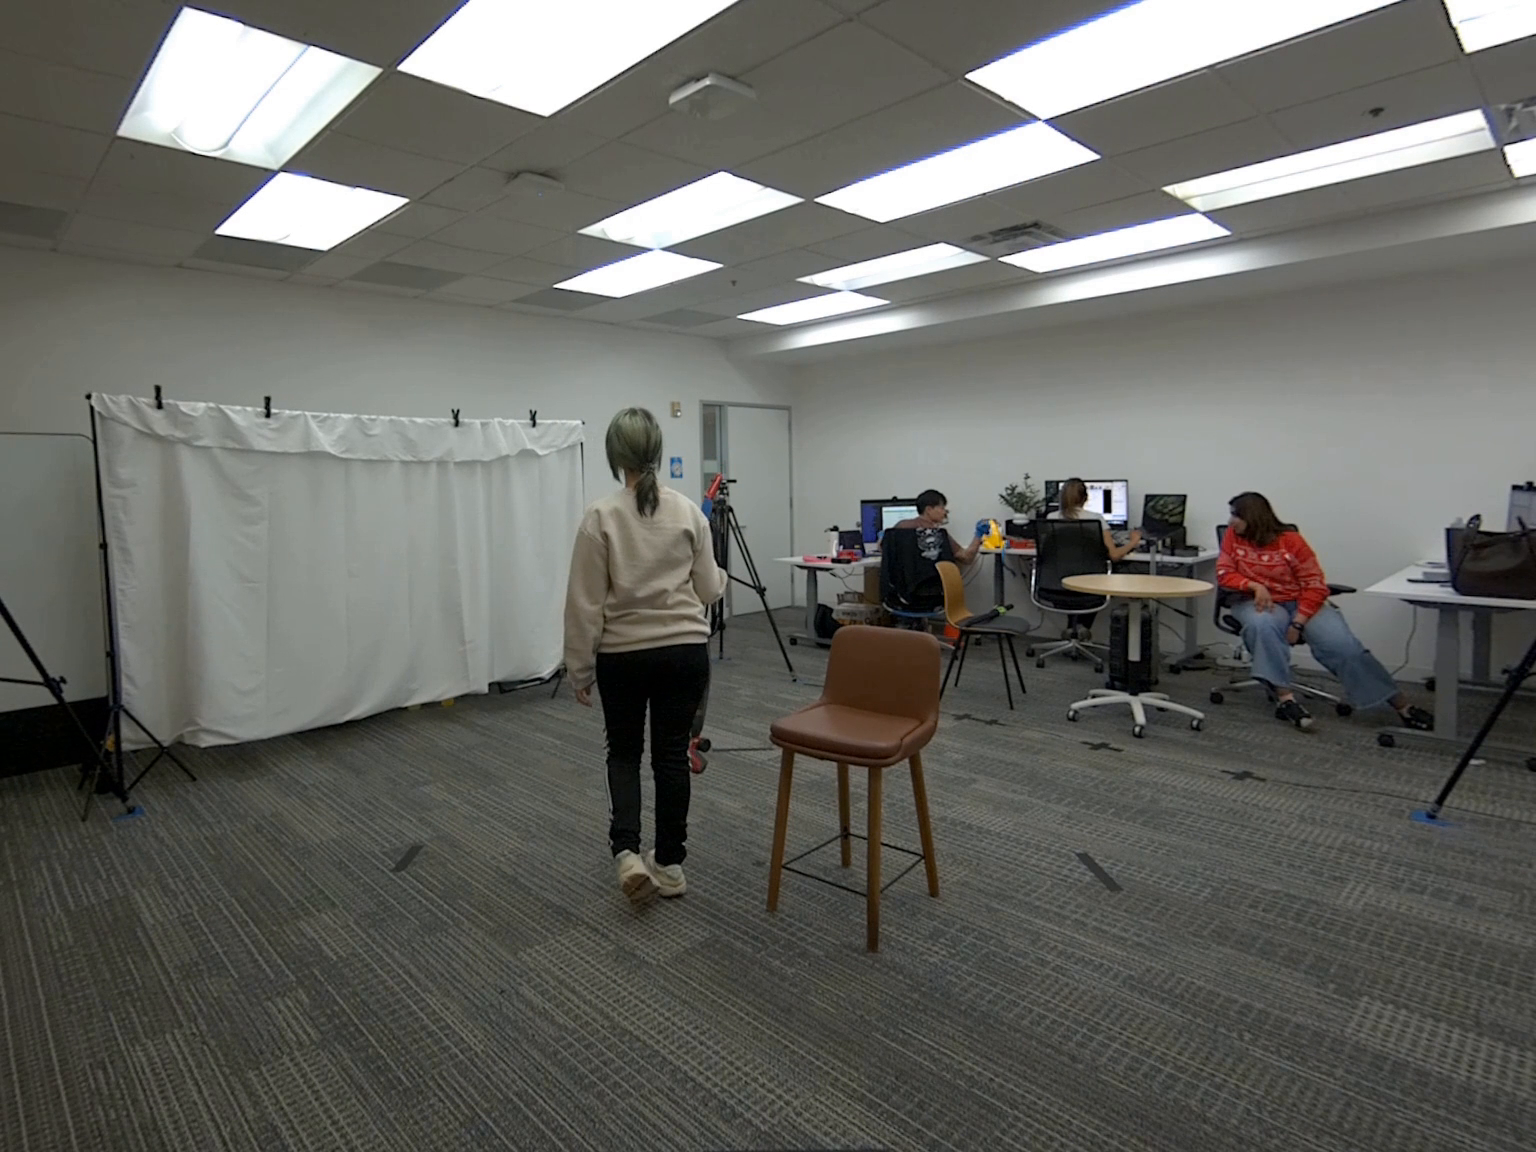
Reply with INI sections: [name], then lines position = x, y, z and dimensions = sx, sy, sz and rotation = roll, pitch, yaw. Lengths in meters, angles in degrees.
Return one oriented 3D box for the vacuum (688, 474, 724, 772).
[vacuum]
position = -0.242, 0.145, 3.240
dimensions = 0.260, 1.052, 0.139
rotation = 3, -5, 43
